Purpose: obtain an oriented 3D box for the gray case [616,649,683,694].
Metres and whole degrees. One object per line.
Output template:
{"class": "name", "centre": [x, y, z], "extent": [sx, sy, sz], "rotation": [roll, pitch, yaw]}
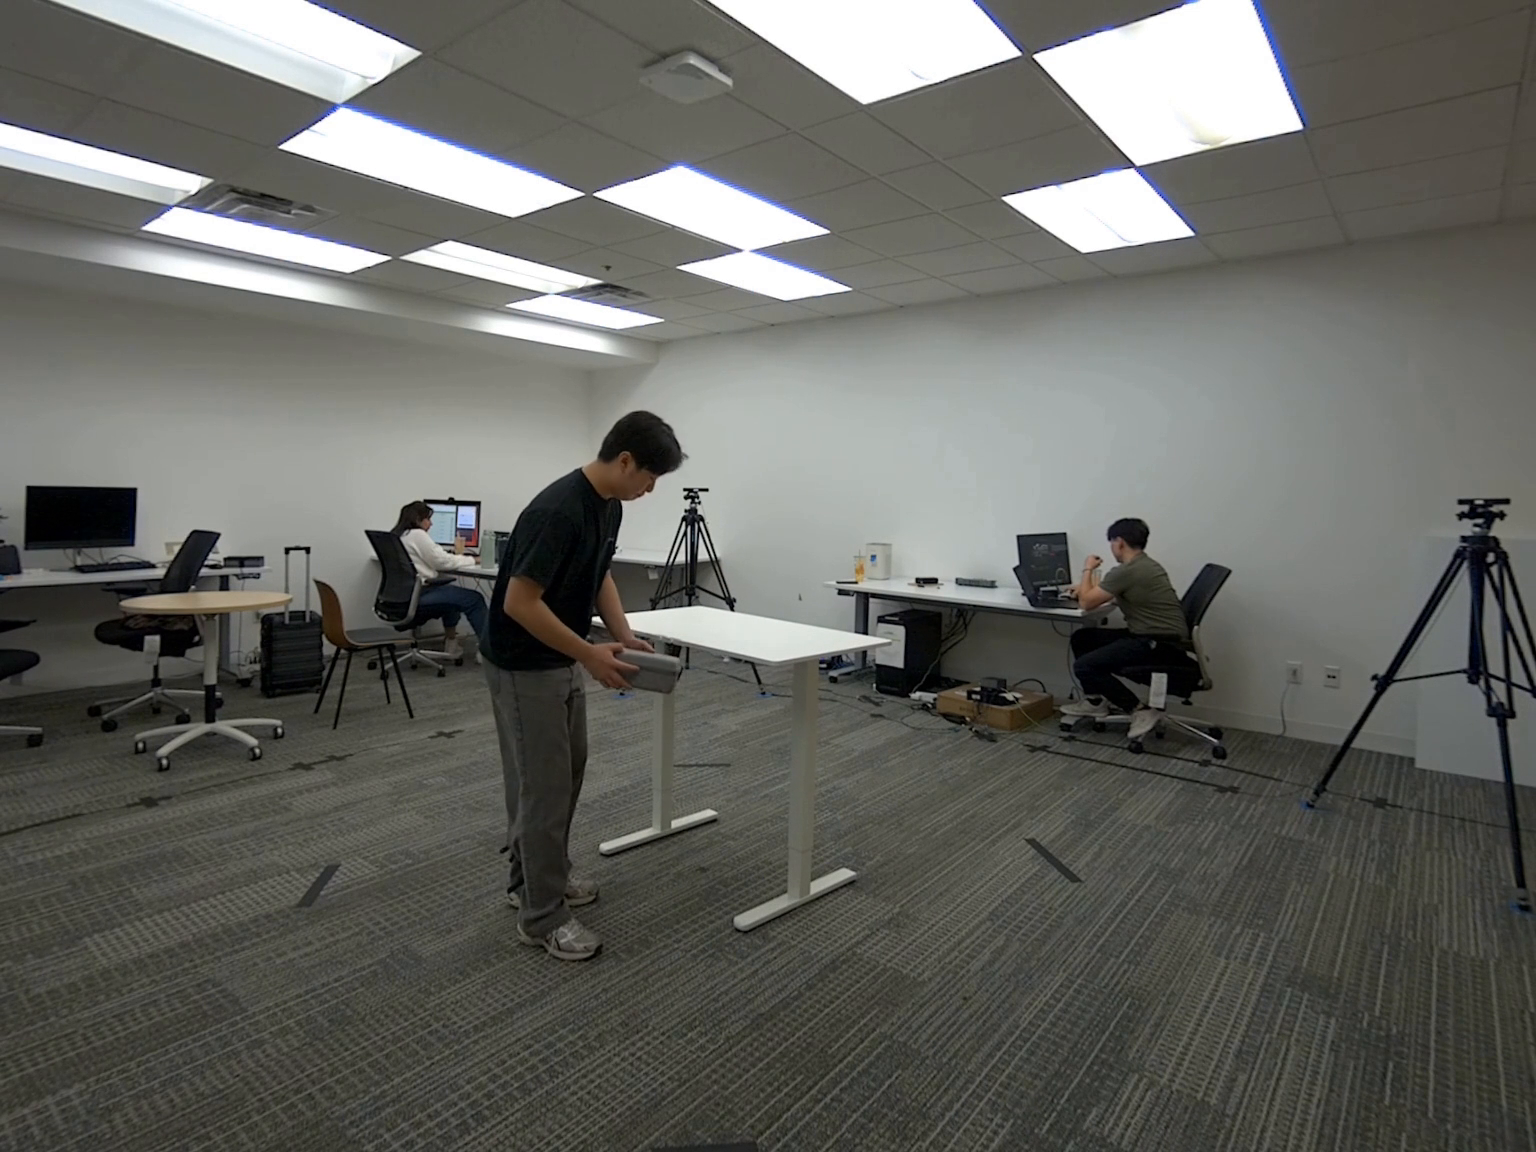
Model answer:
{"class": "gray case", "centre": [-0.407, 0.289, 2.616], "extent": [0.285, 0.103, 0.265], "rotation": [9, 0, -7]}
